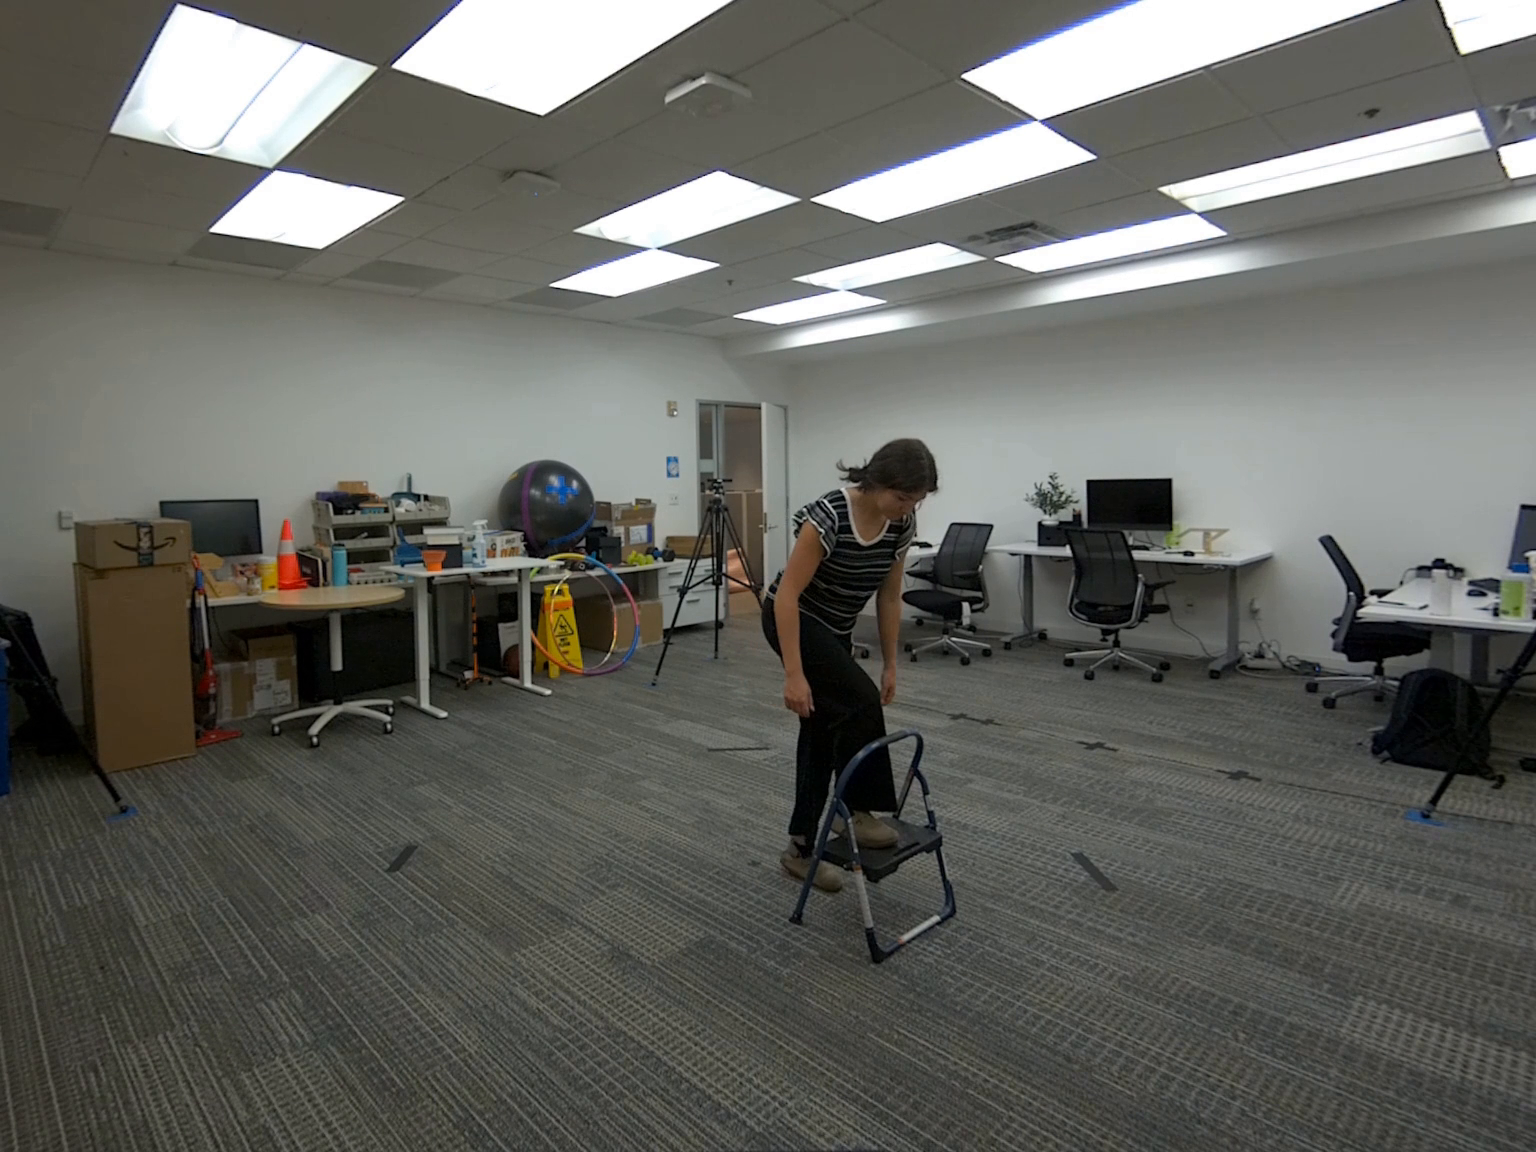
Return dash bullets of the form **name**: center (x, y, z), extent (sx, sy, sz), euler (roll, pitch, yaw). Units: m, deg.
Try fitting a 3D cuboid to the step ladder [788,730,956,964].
- **step ladder**: center (0.336, 0.786, 2.689), extent (0.360, 0.604, 0.419), euler (3, 6, 45)
